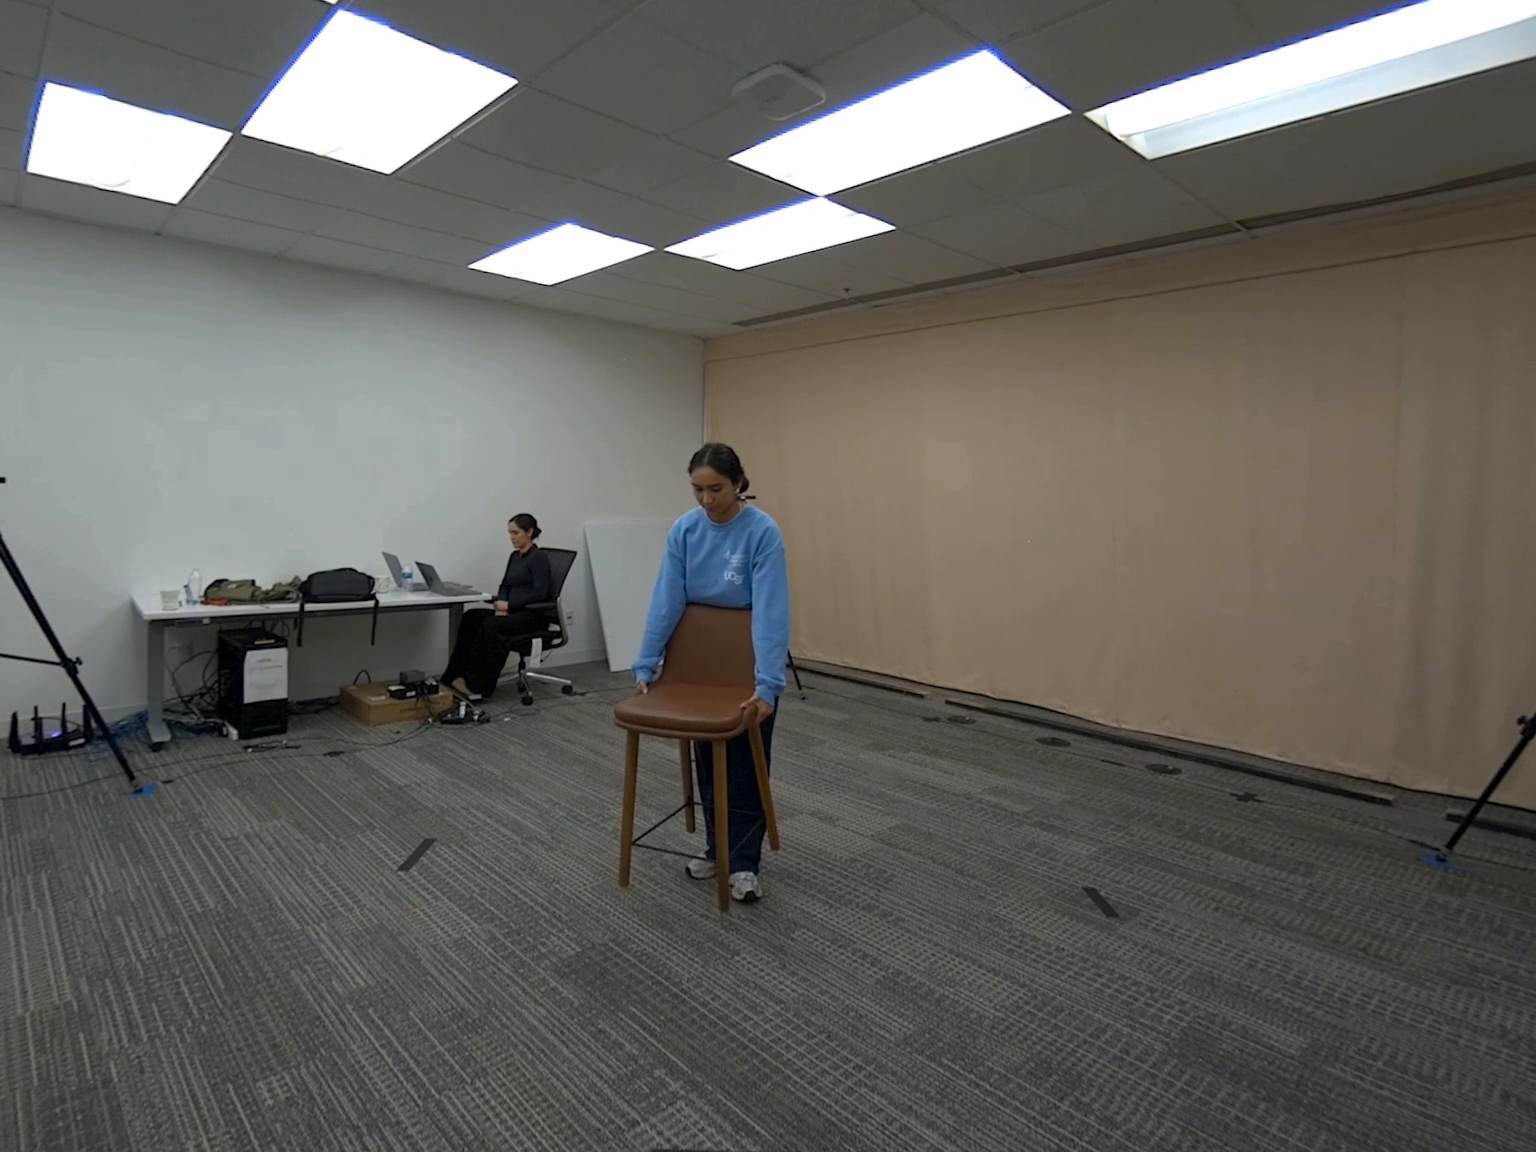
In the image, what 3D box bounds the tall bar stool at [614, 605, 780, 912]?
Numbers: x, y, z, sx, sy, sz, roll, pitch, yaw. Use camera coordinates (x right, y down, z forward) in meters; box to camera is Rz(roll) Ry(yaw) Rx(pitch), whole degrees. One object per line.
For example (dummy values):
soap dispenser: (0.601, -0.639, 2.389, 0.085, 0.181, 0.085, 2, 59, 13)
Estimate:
tall bar stool: (-0.237, 0.580, 2.832, 0.466, 0.886, 0.460, 2, 7, 27)
